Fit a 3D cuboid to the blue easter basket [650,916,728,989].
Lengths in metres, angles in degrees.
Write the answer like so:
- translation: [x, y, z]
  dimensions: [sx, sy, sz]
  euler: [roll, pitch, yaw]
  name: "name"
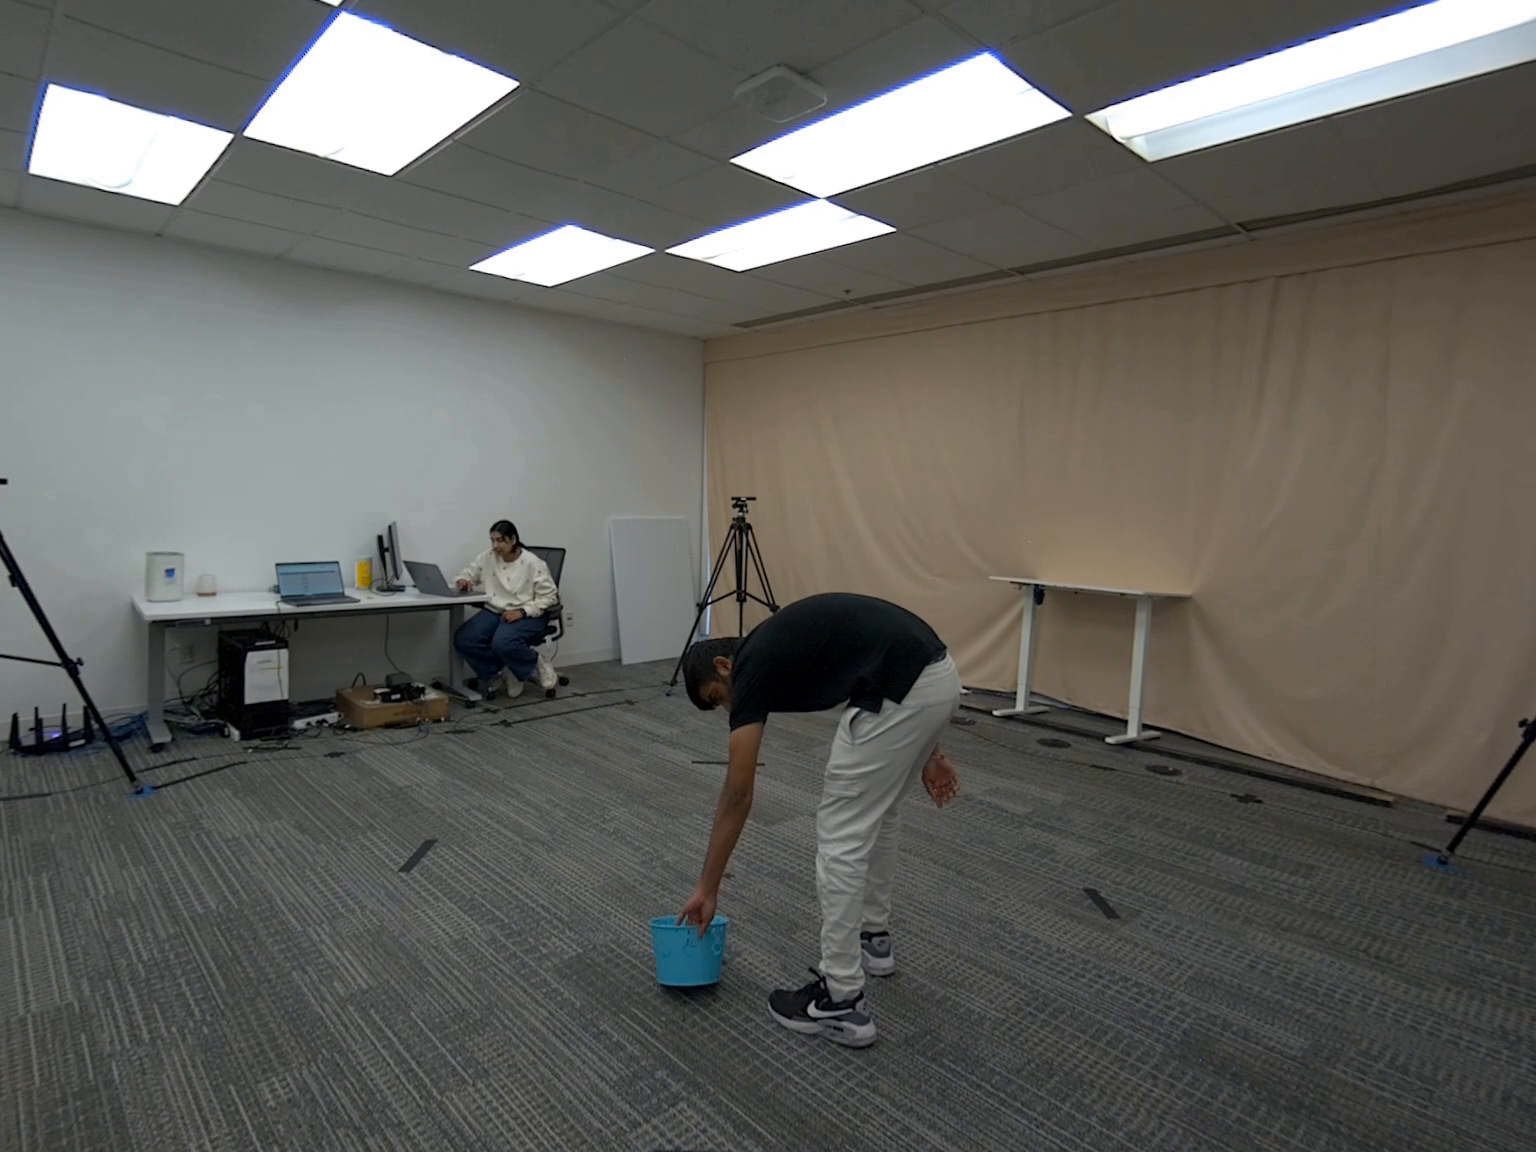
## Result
- translation: [-0.223, 1.066, 2.402]
  dimensions: [0.243, 0.157, 0.241]
  euler: [0, -12, -1]
  name: "blue easter basket"
